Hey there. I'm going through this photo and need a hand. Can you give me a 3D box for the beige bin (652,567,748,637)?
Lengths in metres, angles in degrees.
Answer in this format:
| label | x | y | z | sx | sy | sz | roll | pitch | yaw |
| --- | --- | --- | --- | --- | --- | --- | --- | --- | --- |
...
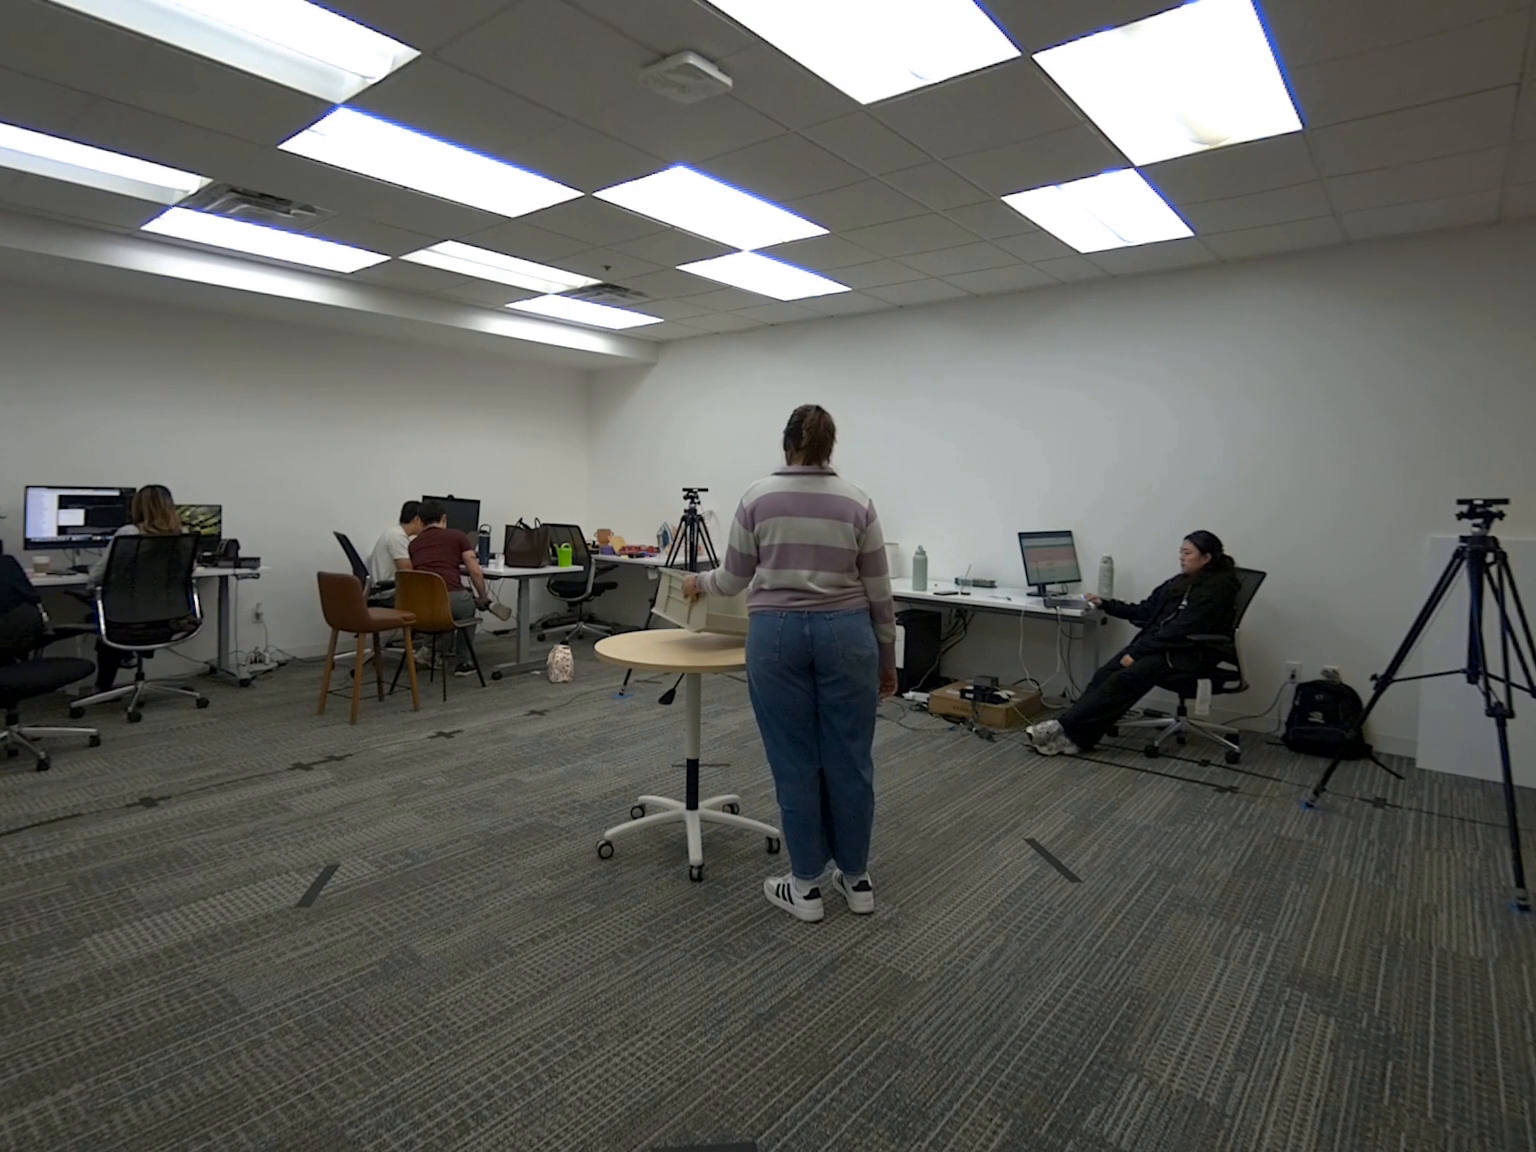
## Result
| label | x | y | z | sx | sy | sz | roll | pitch | yaw |
| --- | --- | --- | --- | --- | --- | --- | --- | --- | --- |
| beige bin | -0.192 | 0.115 | 3.380 | 0.407 | 0.189 | 0.391 | 10 | 4 | -39 |
